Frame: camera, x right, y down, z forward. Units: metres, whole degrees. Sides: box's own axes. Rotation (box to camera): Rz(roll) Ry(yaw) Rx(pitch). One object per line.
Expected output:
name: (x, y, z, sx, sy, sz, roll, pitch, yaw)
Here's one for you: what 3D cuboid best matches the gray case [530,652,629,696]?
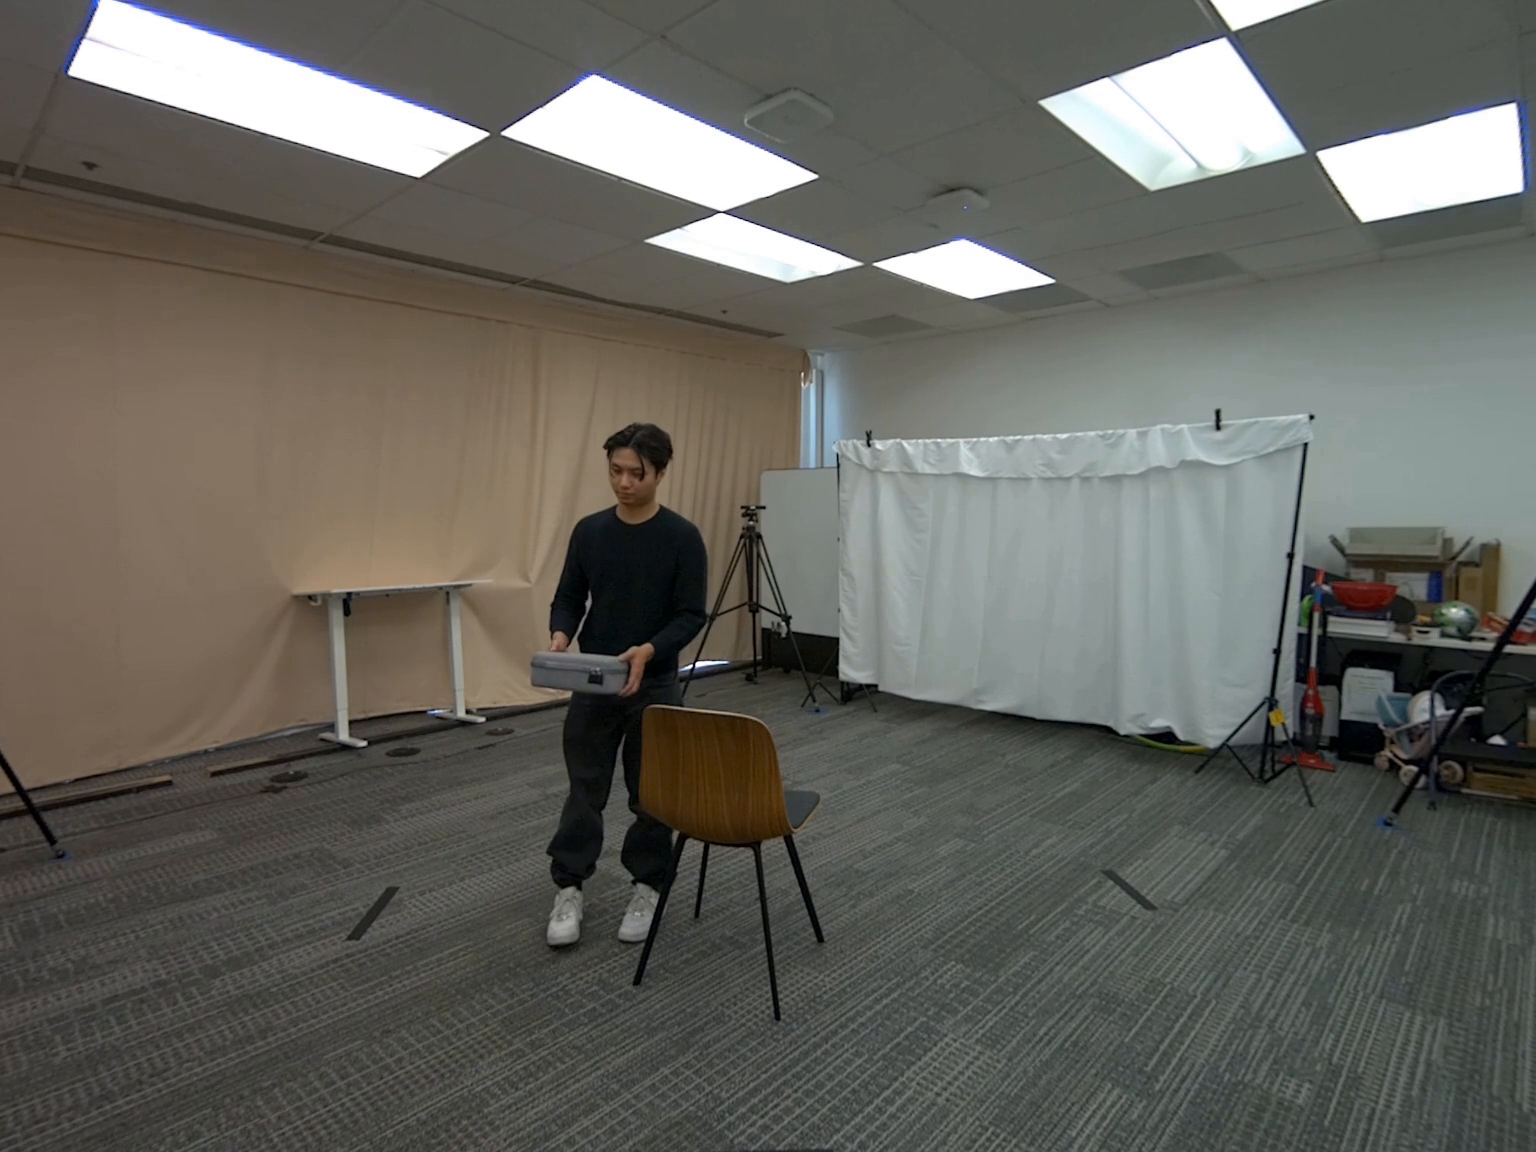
gray case: (-0.546, 0.283, 2.519, 0.260, 0.104, 0.257, 2, -4, 9)
